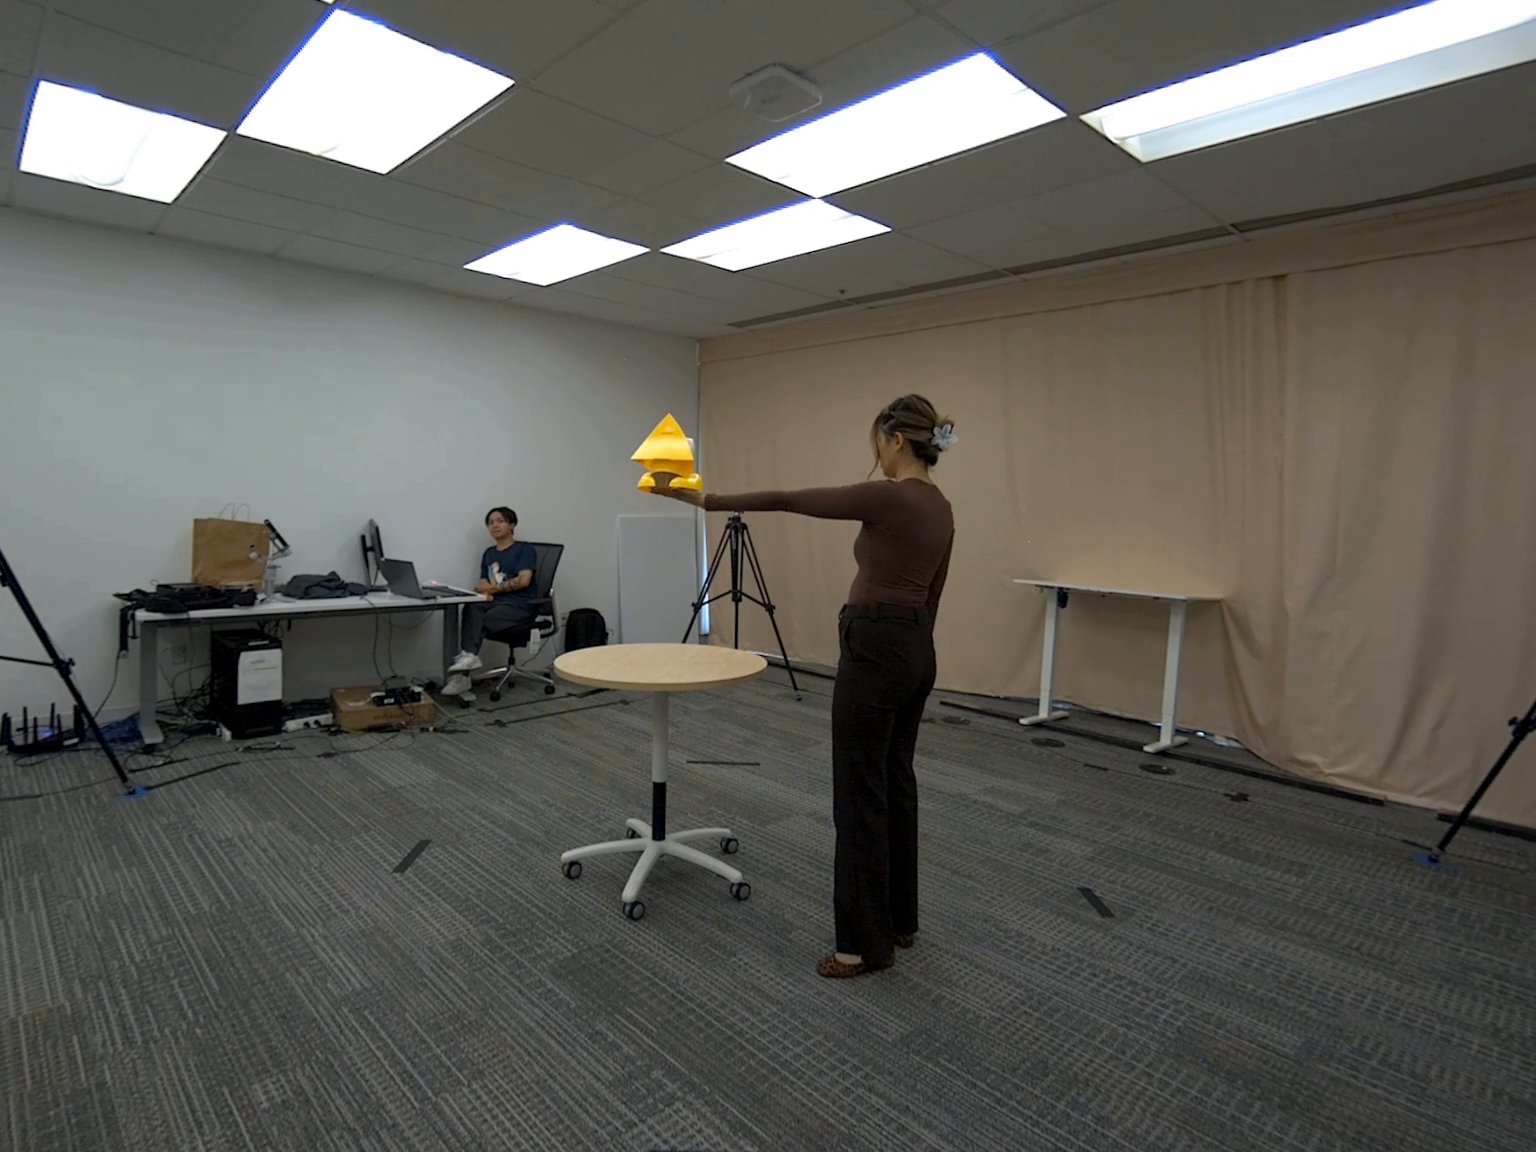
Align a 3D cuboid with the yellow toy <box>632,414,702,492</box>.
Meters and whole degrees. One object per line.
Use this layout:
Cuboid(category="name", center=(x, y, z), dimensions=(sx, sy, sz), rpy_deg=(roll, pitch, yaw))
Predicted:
Cuboid(category="yellow toy", center=(-0.305, -0.380, 2.644), dimensions=(0.207, 0.231, 0.190), rpy_deg=(2, -6, 15))
